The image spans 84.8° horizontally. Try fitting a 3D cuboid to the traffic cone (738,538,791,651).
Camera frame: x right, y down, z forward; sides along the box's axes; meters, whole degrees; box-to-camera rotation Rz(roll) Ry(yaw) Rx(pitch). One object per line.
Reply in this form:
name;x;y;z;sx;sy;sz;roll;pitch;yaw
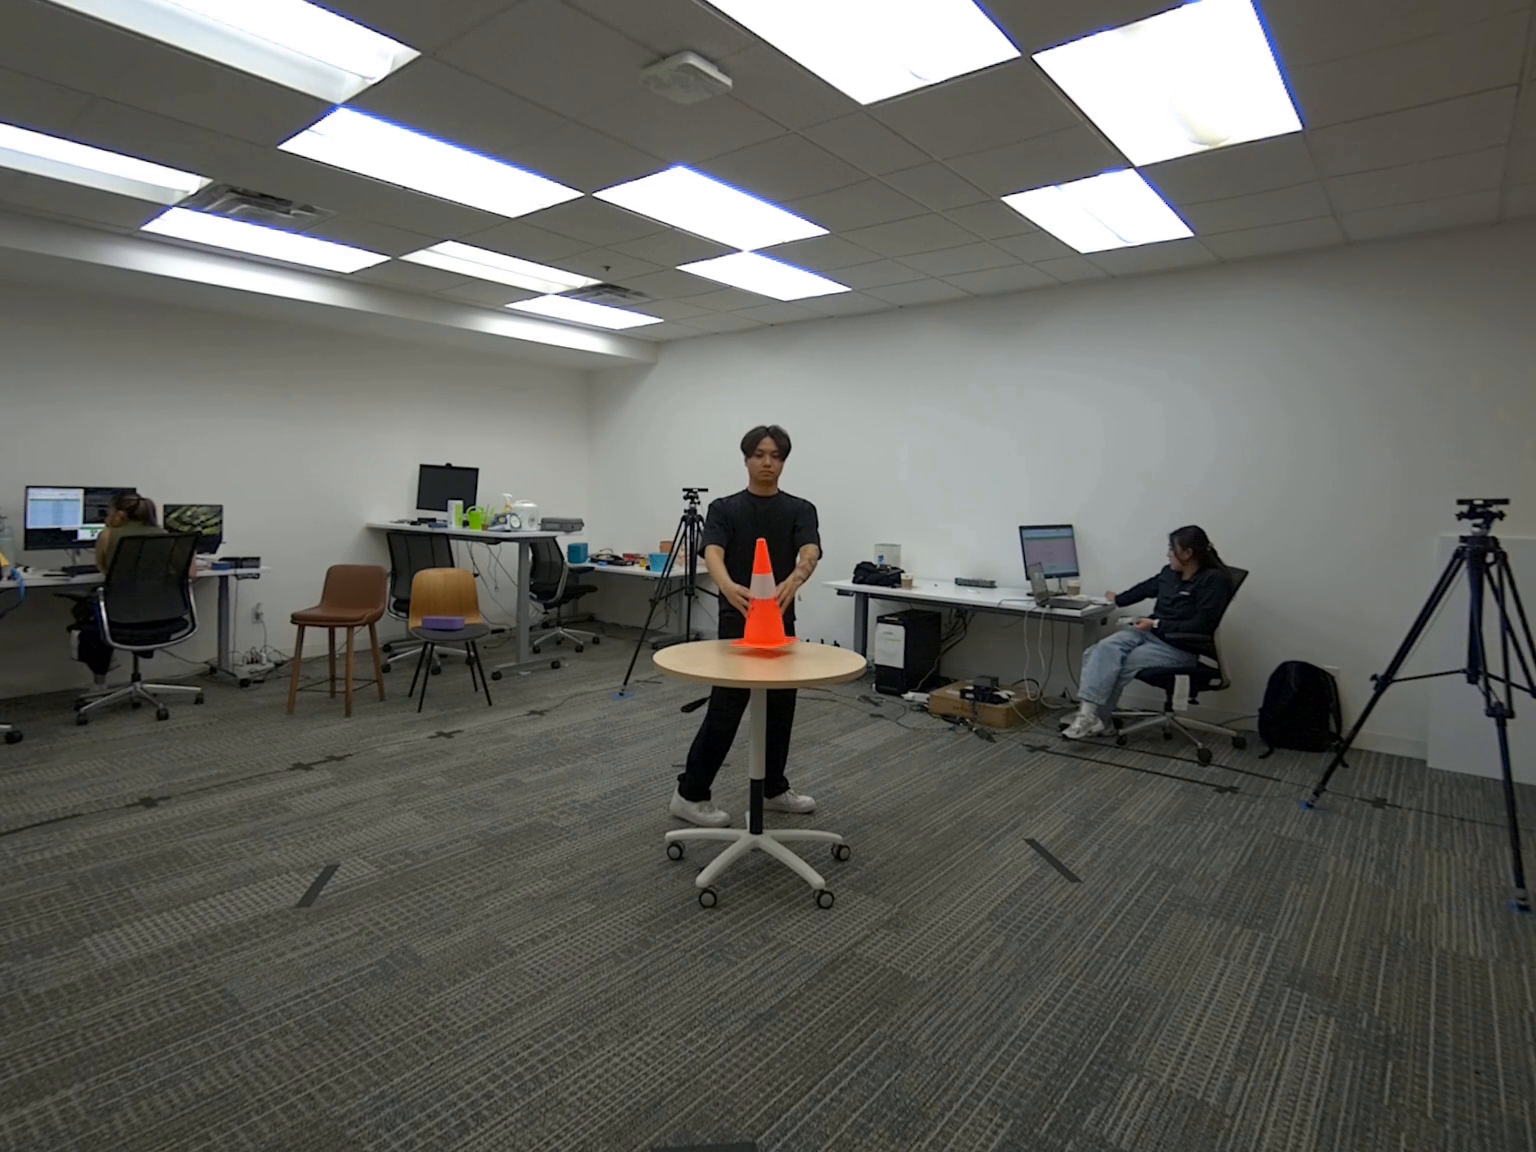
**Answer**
traffic cone;-0.023;0.044;3.135;0.211;0.381;0.198;4;7;35
